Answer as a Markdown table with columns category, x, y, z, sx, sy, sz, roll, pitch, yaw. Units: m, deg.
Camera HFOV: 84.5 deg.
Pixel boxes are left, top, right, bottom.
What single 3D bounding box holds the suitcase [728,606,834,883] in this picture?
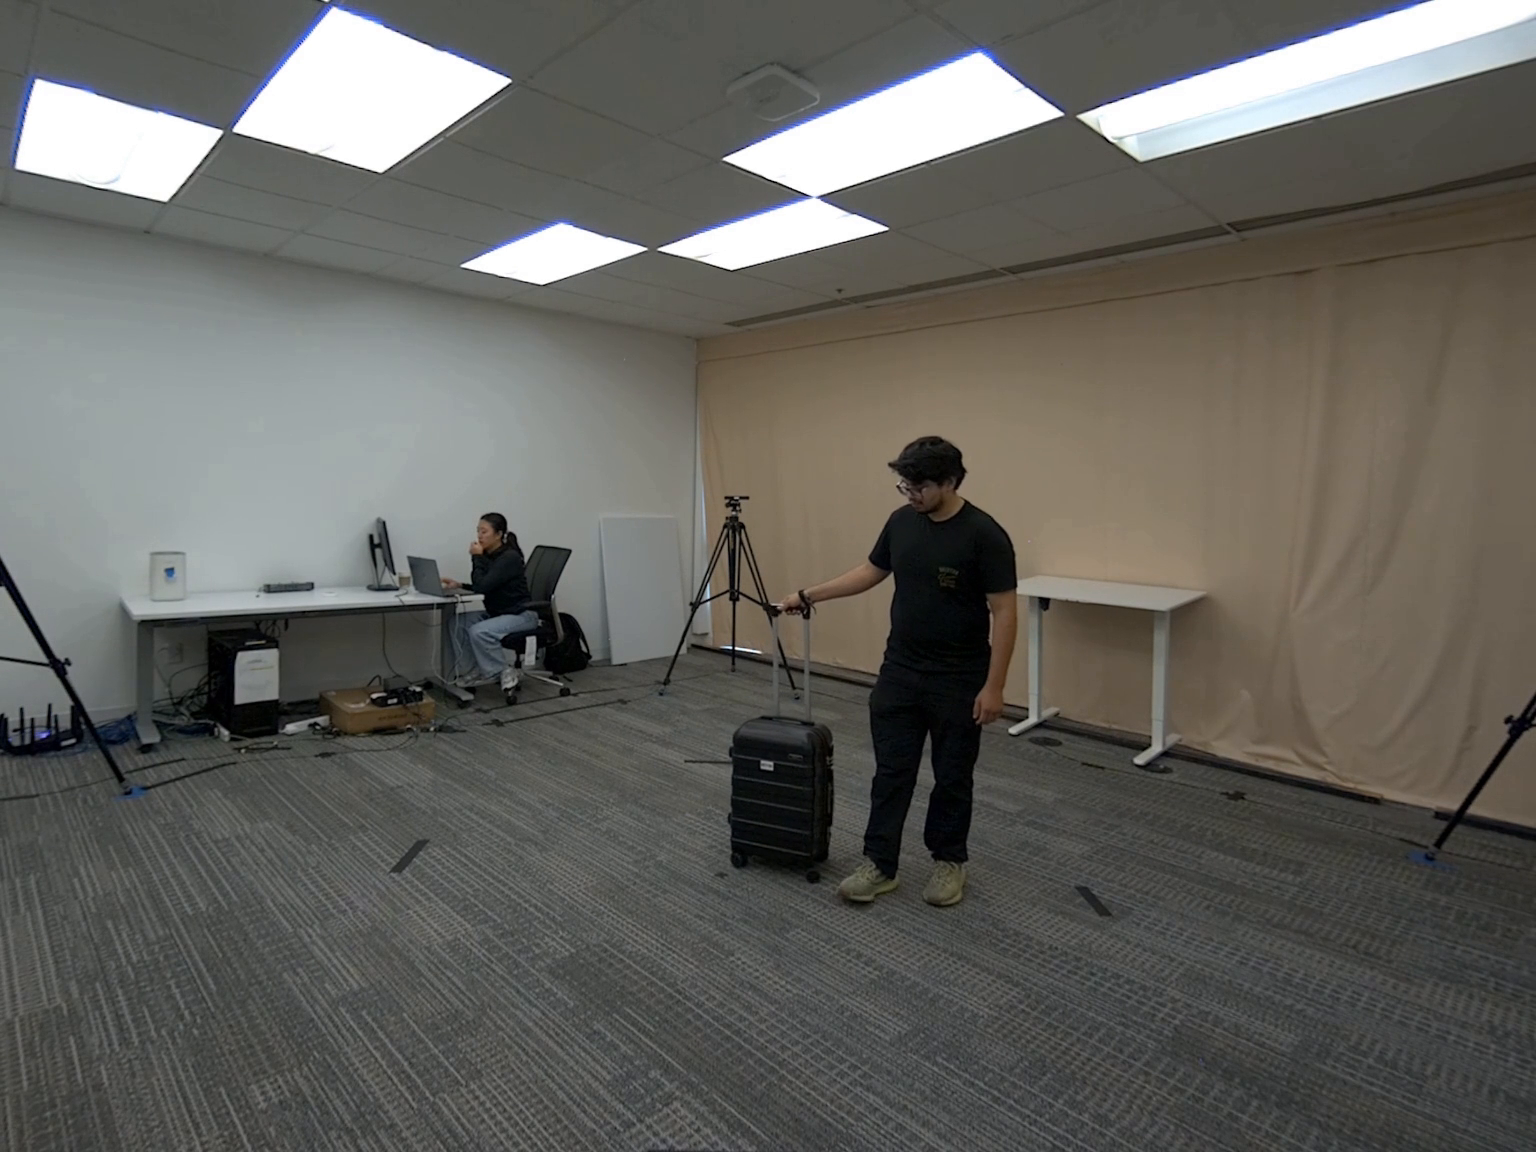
| category | x | y | z | sx | sy | sz | roll | pitch | yaw |
| --- | --- | --- | --- | --- | --- | --- | --- | --- | --- |
| suitcase | 0.043 | 0.626 | 3.197 | 0.390 | 0.975 | 0.253 | 2 | 5 | 22 |
